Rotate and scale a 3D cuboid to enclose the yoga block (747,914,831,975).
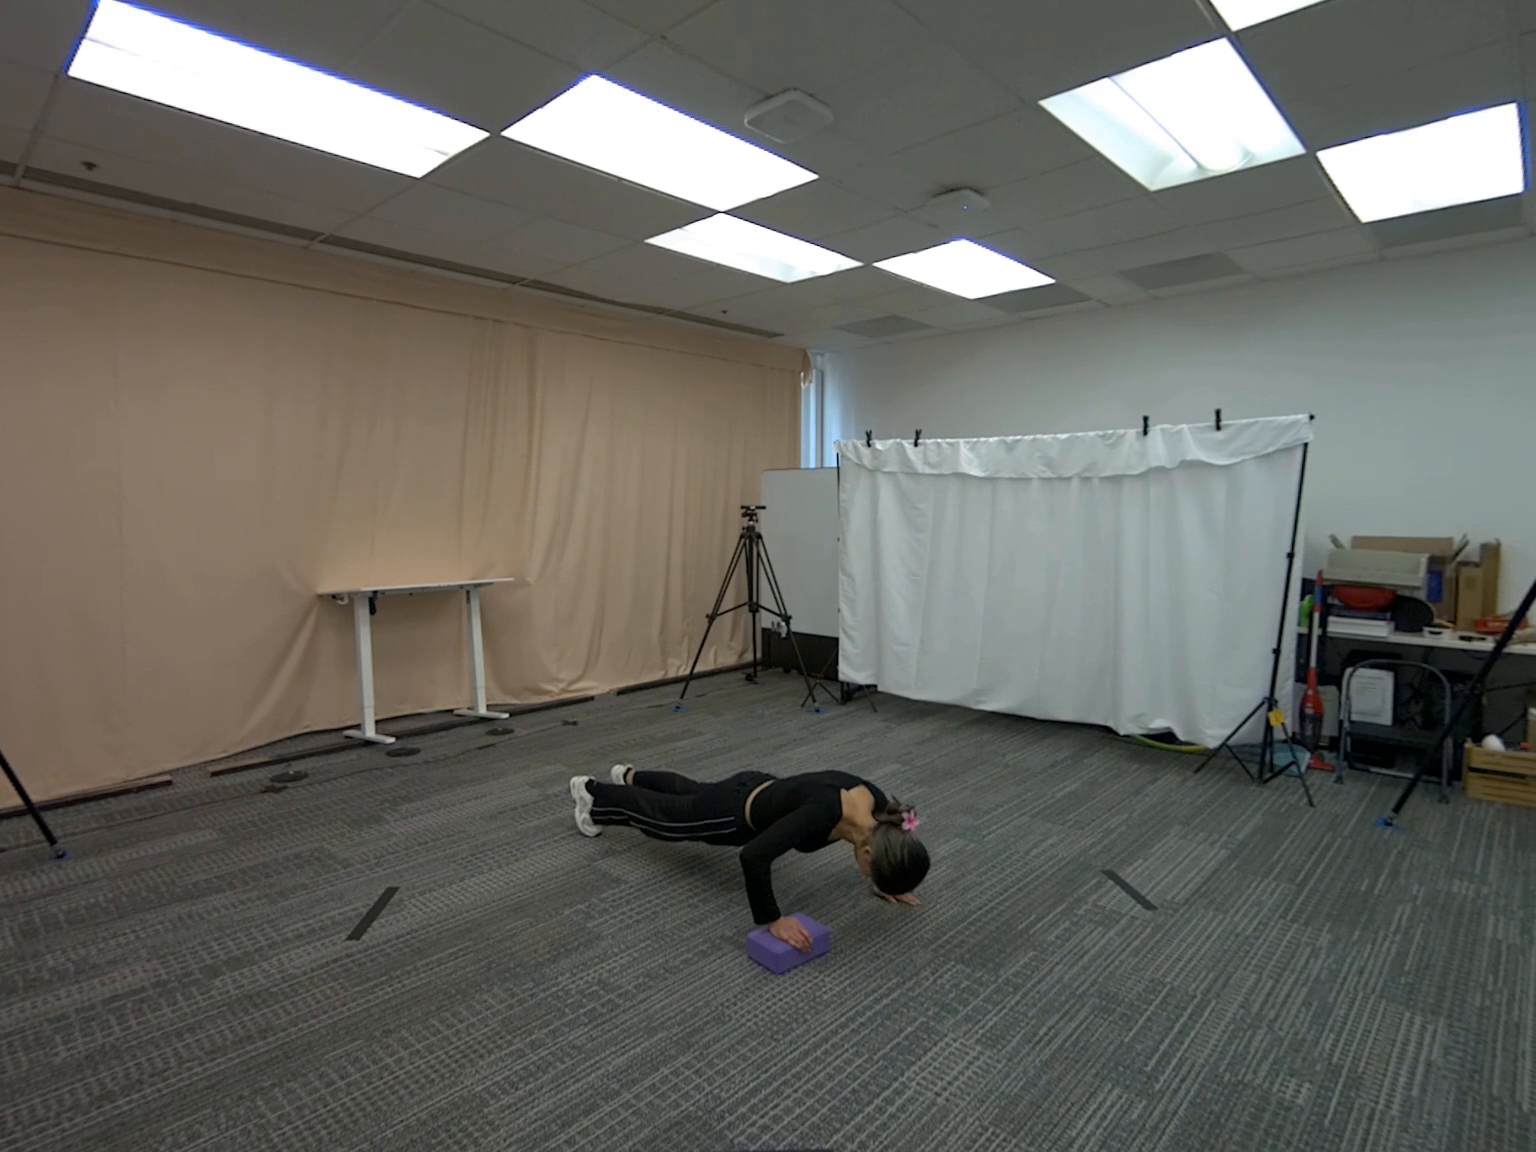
[{"bbox_3d":[0.067,1.135,2.616,0.222,0.076,0.154,-5,7,-41],"label":"yoga block"}]
